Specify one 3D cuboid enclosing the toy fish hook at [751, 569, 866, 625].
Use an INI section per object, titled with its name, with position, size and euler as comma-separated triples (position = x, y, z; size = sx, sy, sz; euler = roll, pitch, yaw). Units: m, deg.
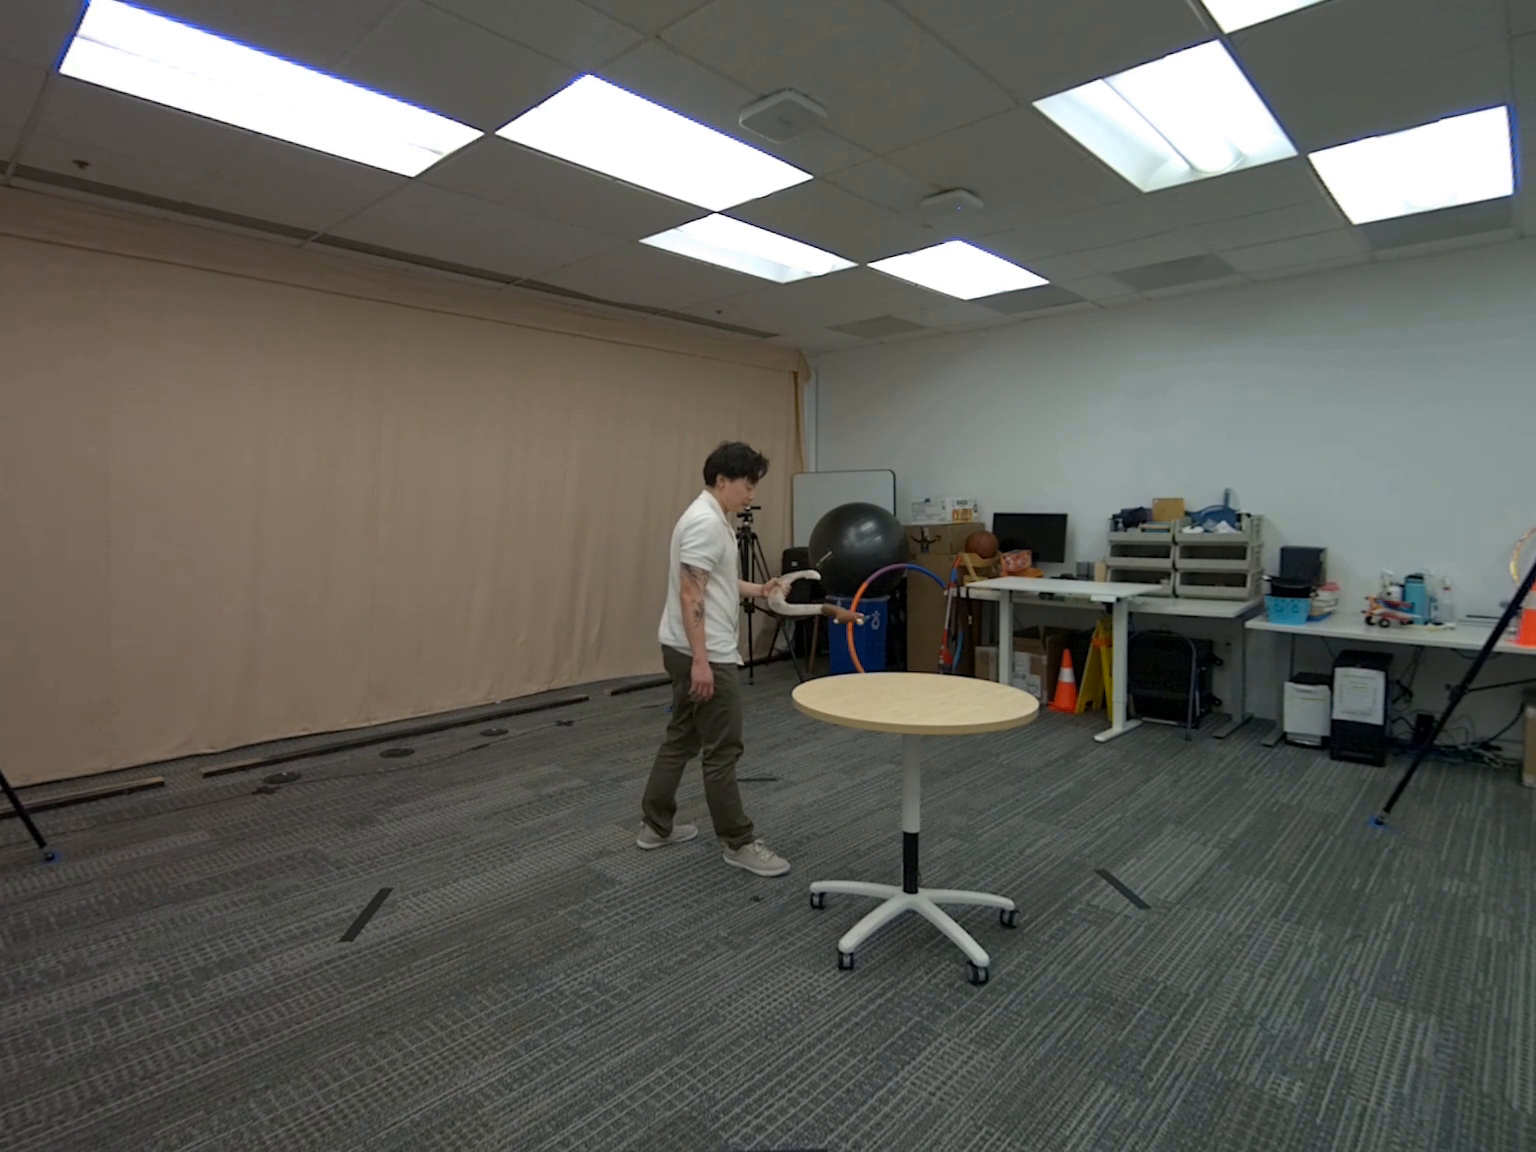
[toy fish hook]
position = 0.212, 0.083, 3.319
size = 0.525, 0.224, 0.046
euler = 13, -26, 45
